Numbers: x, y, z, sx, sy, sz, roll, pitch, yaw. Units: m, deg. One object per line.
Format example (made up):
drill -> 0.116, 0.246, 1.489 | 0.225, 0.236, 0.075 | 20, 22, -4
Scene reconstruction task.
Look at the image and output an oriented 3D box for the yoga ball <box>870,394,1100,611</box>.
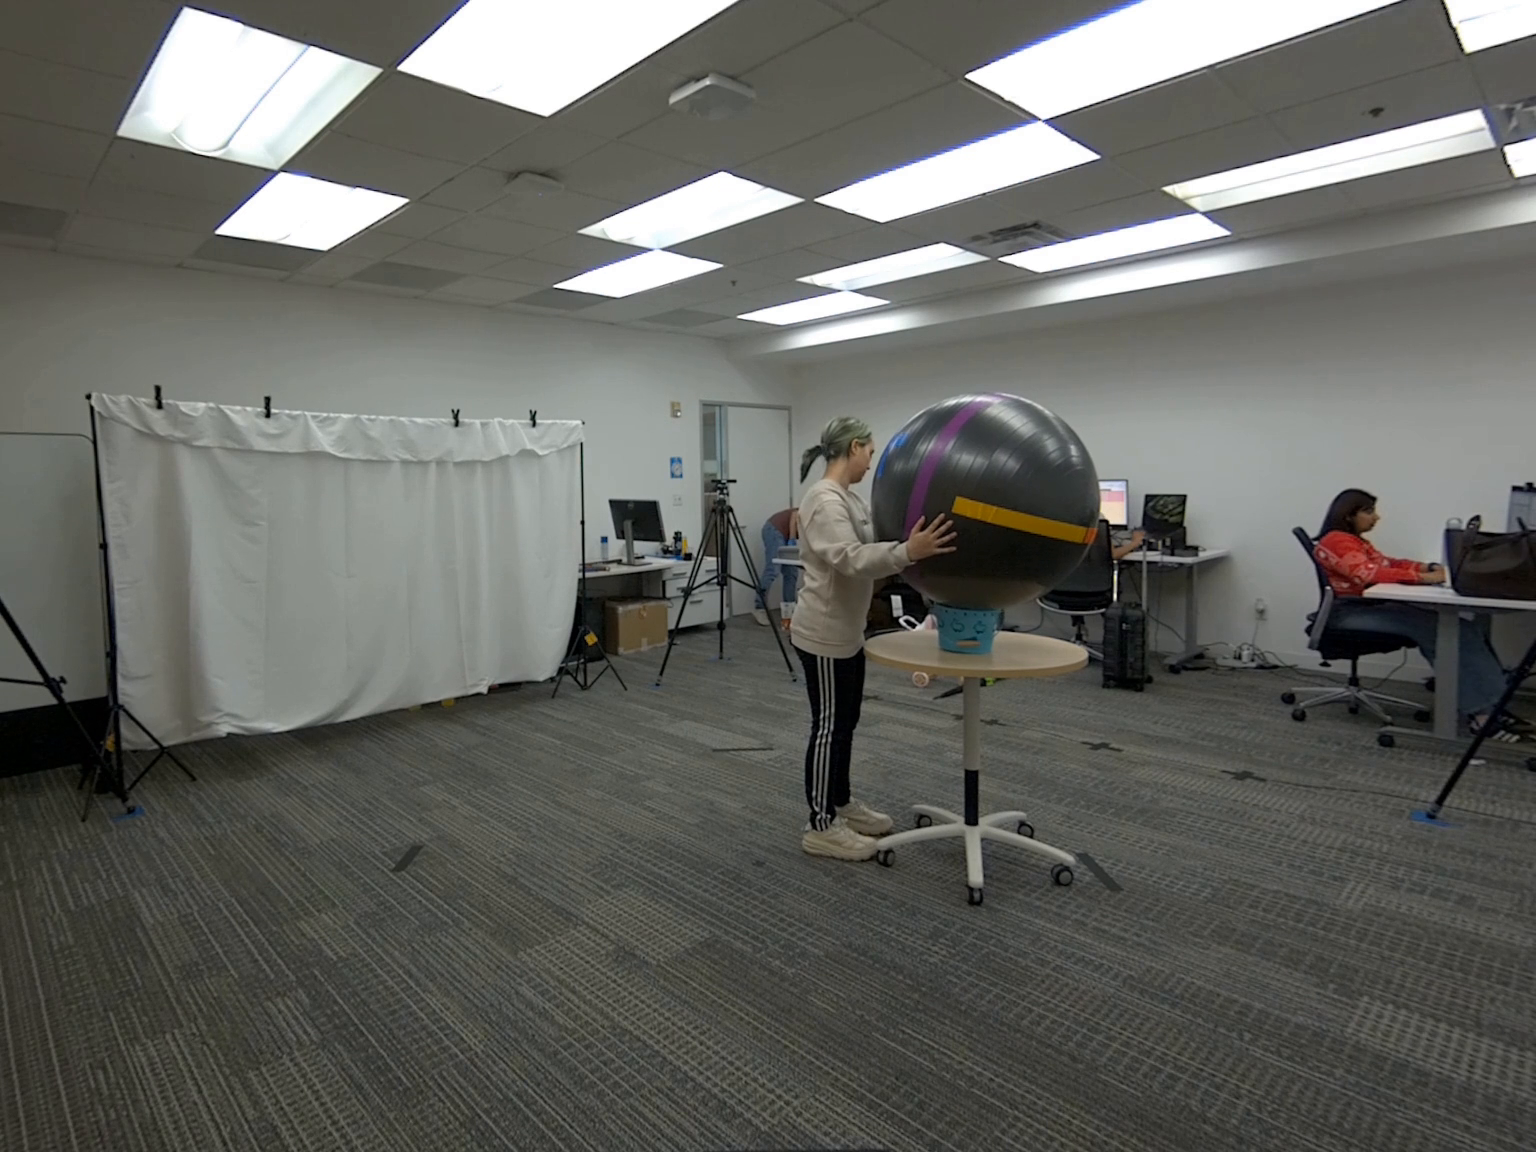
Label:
yoga ball -> 0.746, -0.252, 2.958 | 0.757, 0.755, 0.762 | -1, 5, -2
